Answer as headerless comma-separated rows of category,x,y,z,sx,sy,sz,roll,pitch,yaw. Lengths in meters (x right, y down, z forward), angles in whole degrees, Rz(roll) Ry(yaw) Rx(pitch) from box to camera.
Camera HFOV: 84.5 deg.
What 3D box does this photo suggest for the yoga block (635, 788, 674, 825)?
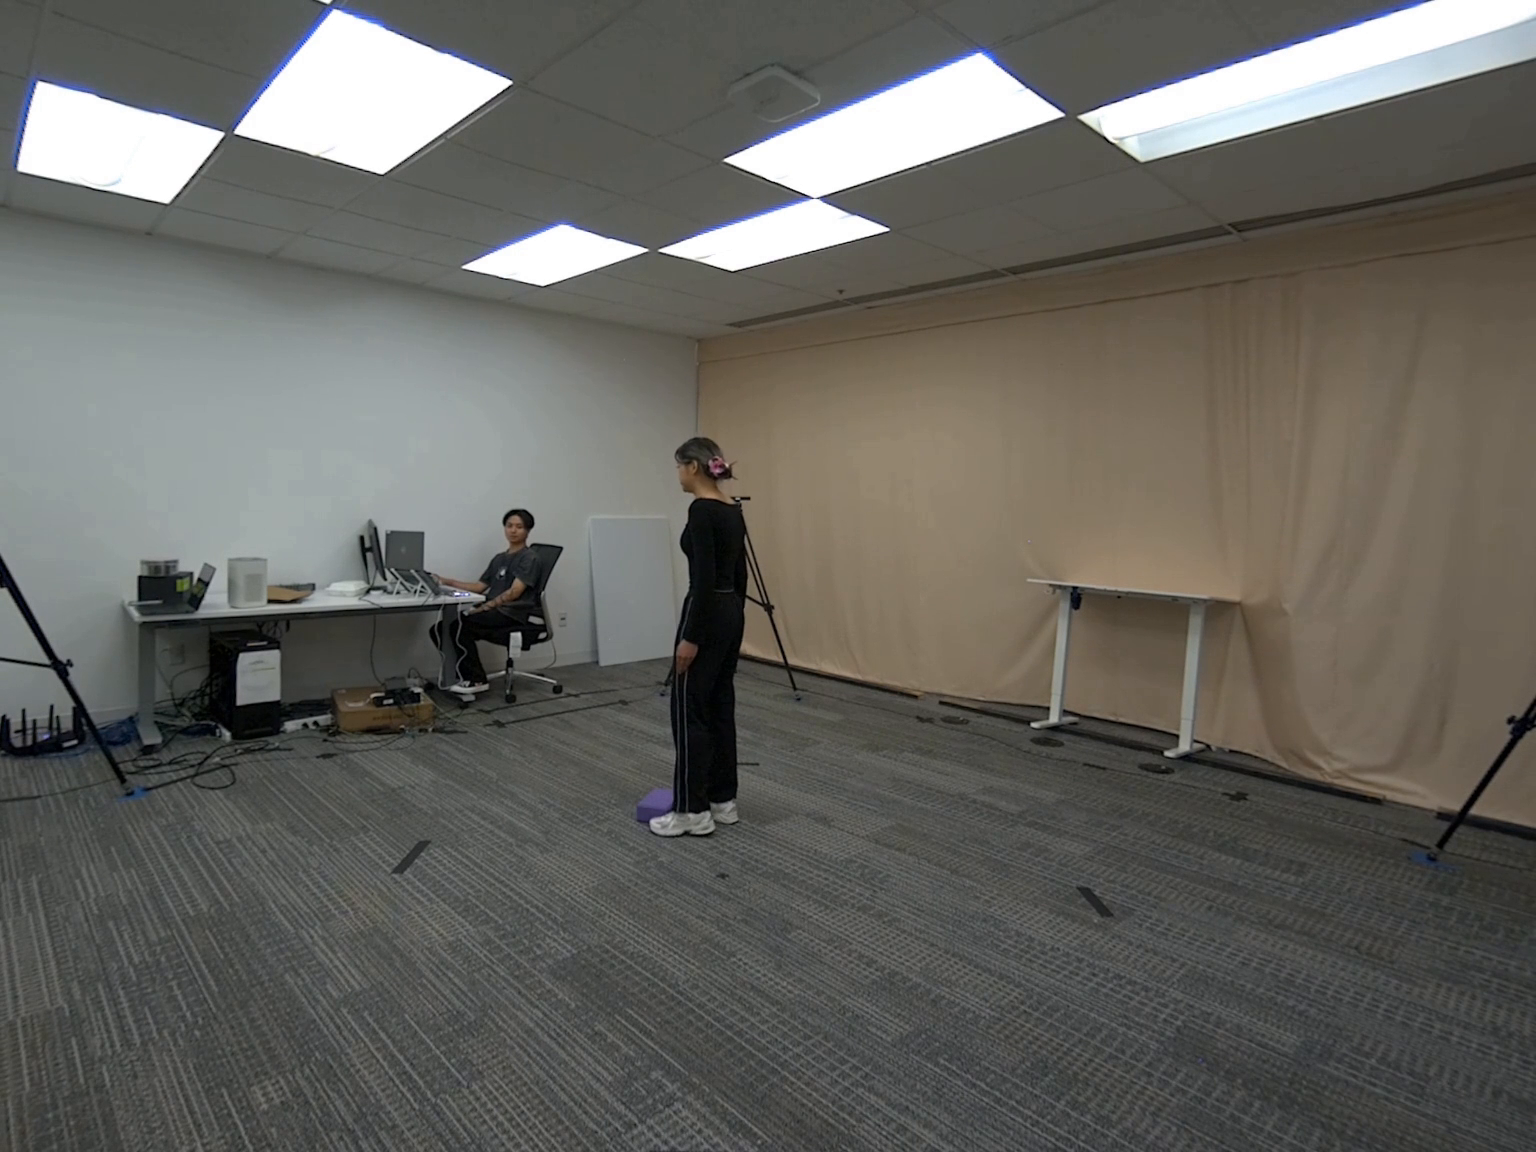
yoga block,-0.473,1.003,3.686,0.151,0.076,0.227,3,6,14
